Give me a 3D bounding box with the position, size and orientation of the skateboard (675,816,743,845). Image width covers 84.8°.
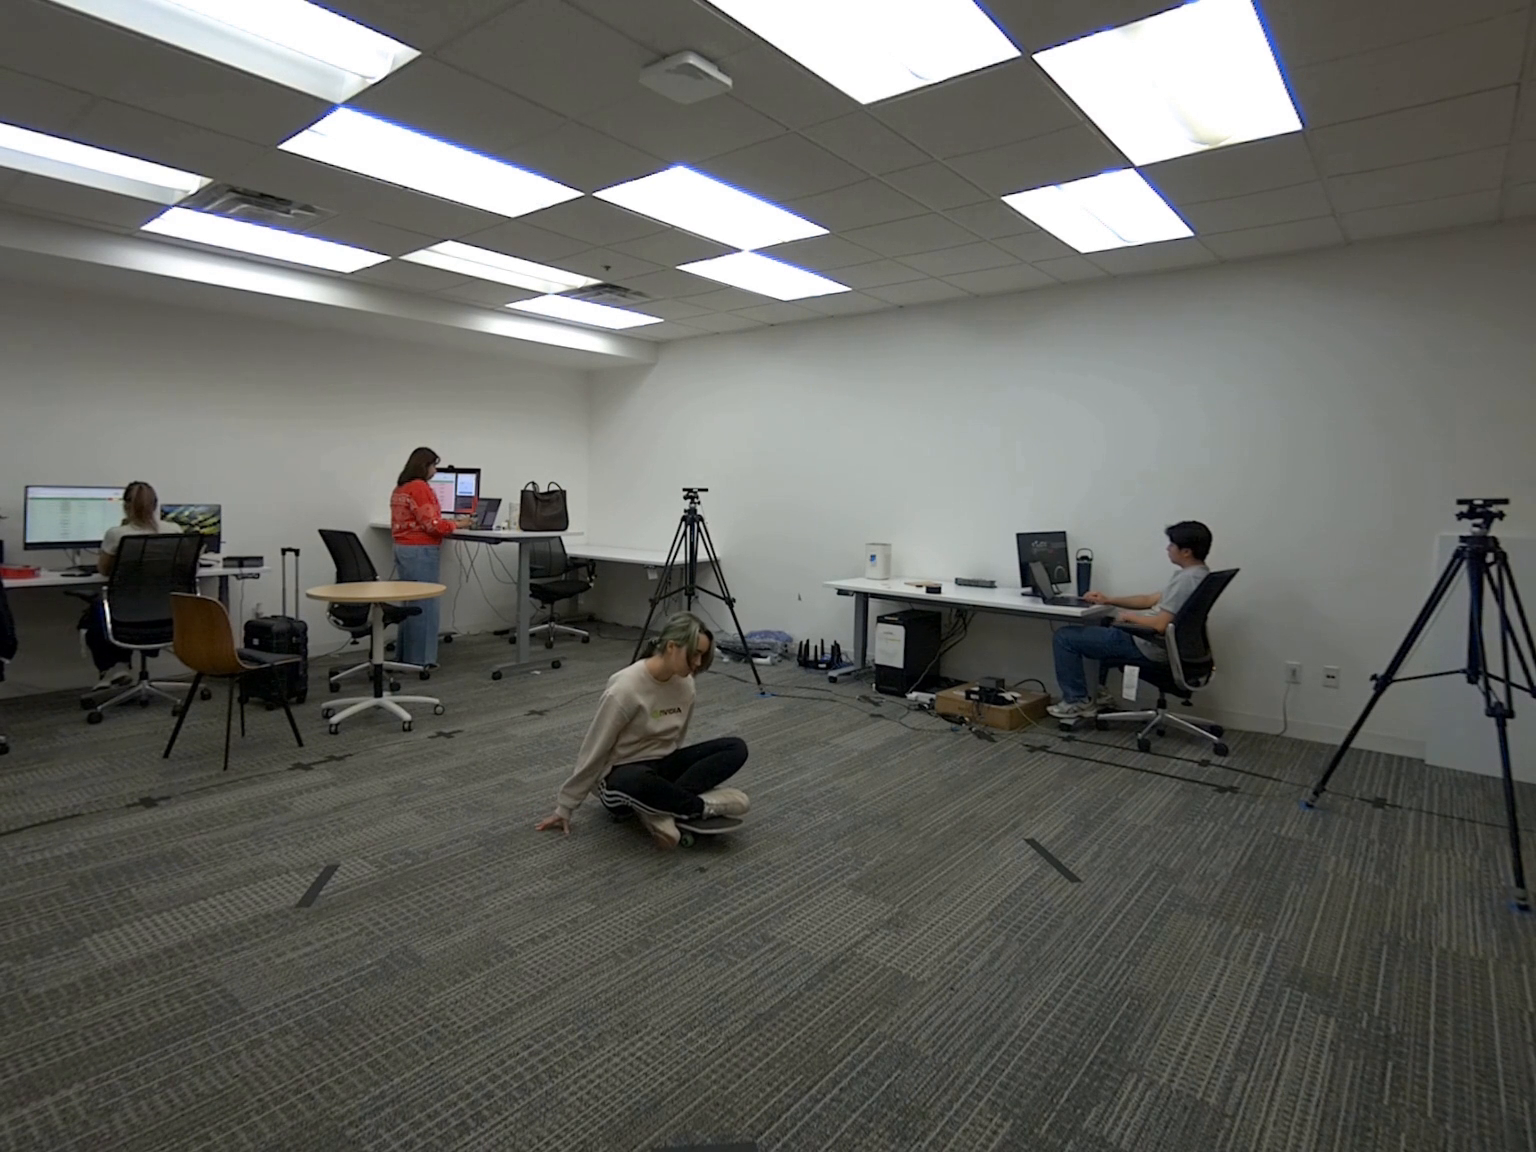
[{"bbox_3d":[-0.435,0.975,3.490,0.810,0.110,0.188,3,2,34],"label":"skateboard"}]
